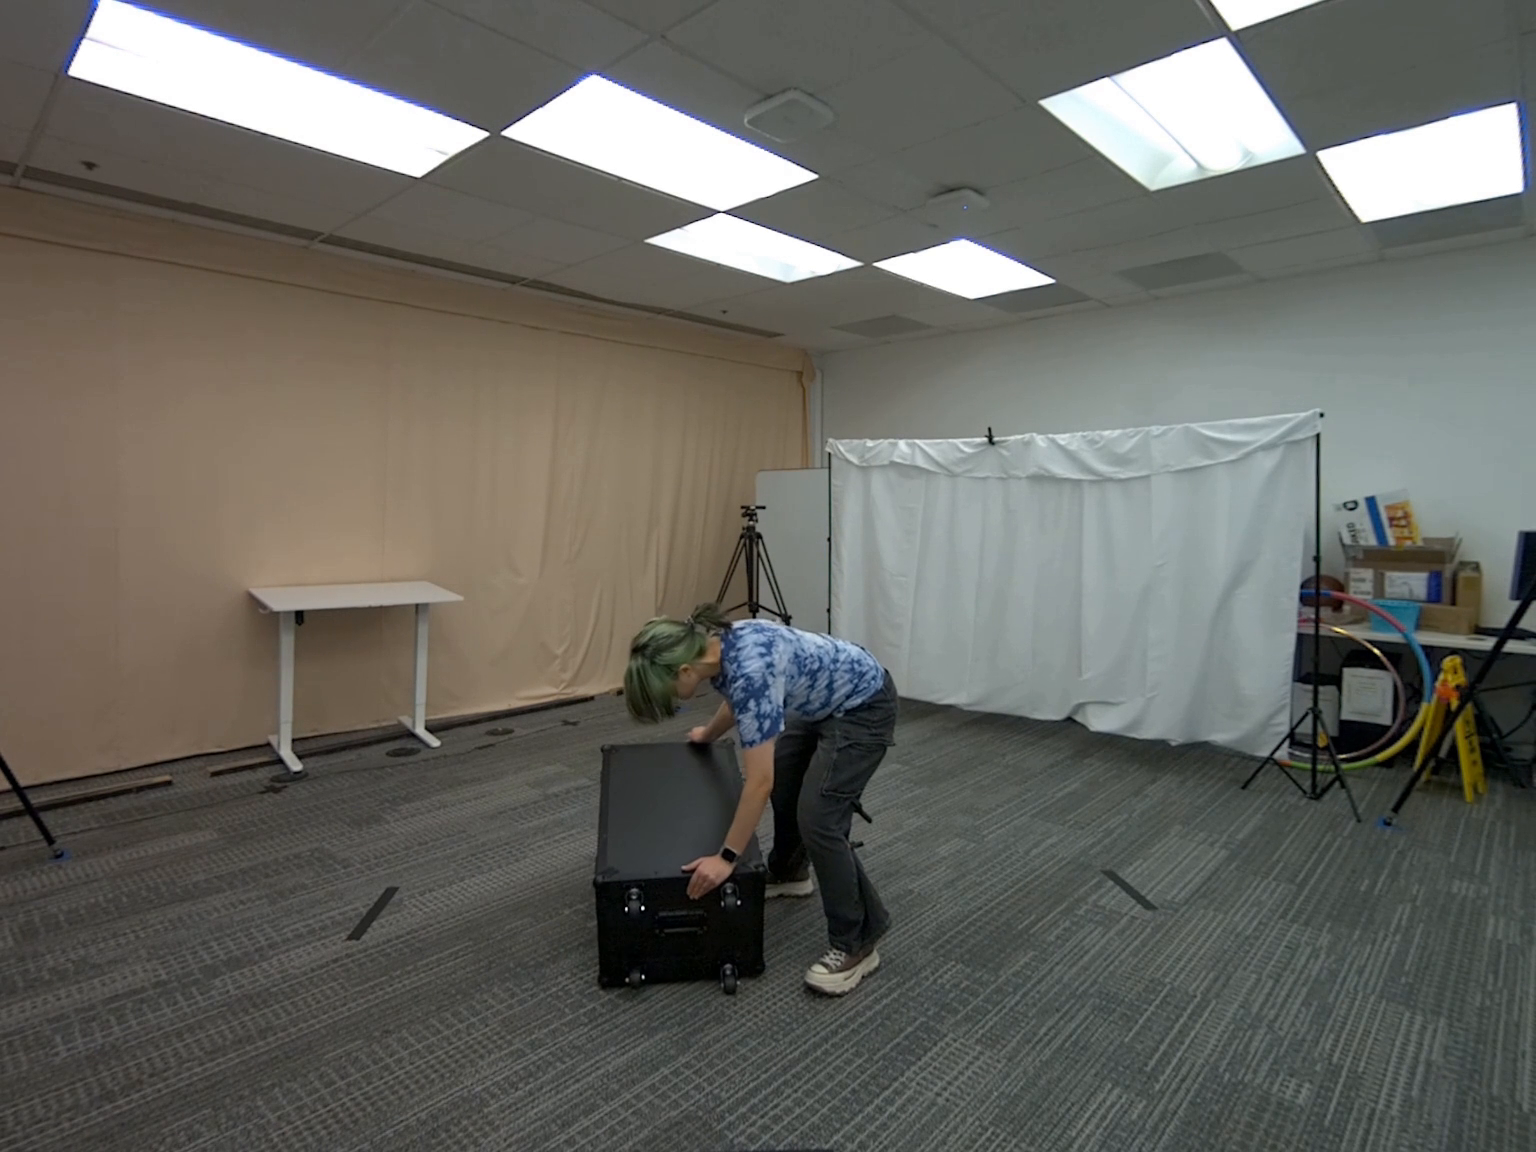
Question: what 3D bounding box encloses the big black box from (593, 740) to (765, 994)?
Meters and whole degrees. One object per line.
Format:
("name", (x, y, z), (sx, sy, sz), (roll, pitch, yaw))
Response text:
("big black box", (-0.310, 0.895, 2.787), (0.515, 0.393, 0.879), (-1, 16, -12))
